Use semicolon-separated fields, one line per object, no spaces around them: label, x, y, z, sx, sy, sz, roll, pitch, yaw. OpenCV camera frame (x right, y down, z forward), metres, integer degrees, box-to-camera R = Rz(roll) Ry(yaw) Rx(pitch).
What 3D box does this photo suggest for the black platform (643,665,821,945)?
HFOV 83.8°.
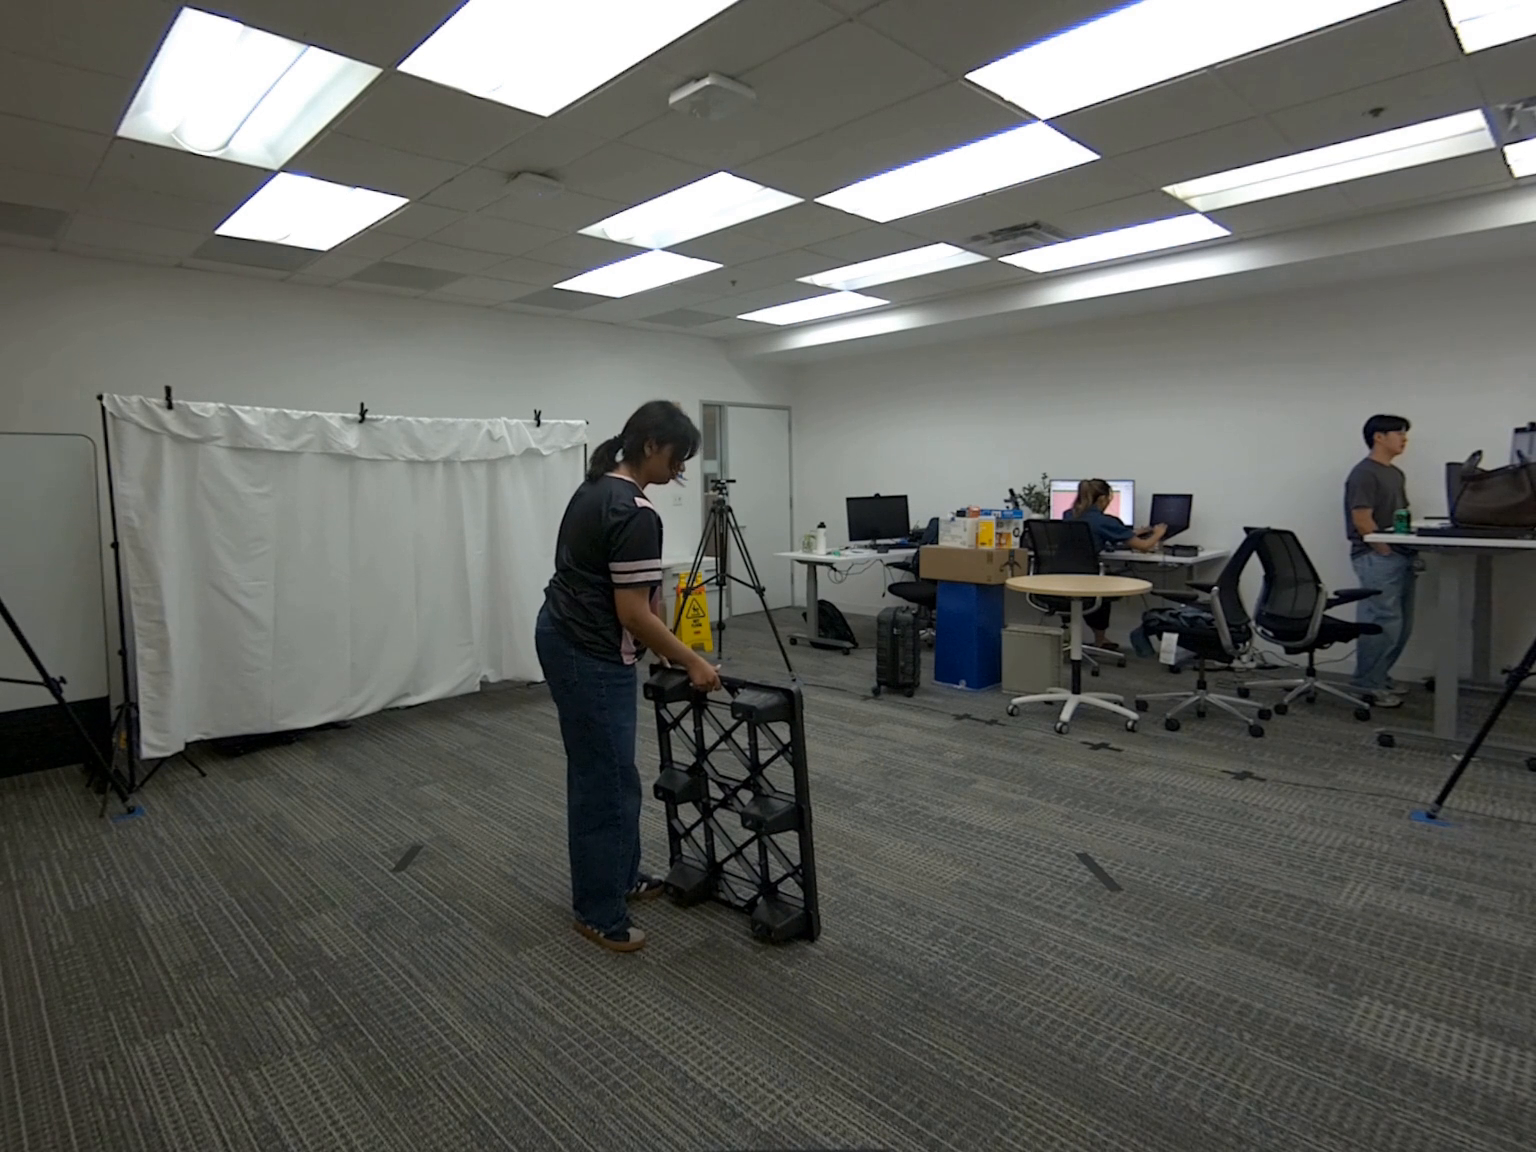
black platform;-0.140;0.706;2.681;0.623;0.799;0.140;3;11;40
